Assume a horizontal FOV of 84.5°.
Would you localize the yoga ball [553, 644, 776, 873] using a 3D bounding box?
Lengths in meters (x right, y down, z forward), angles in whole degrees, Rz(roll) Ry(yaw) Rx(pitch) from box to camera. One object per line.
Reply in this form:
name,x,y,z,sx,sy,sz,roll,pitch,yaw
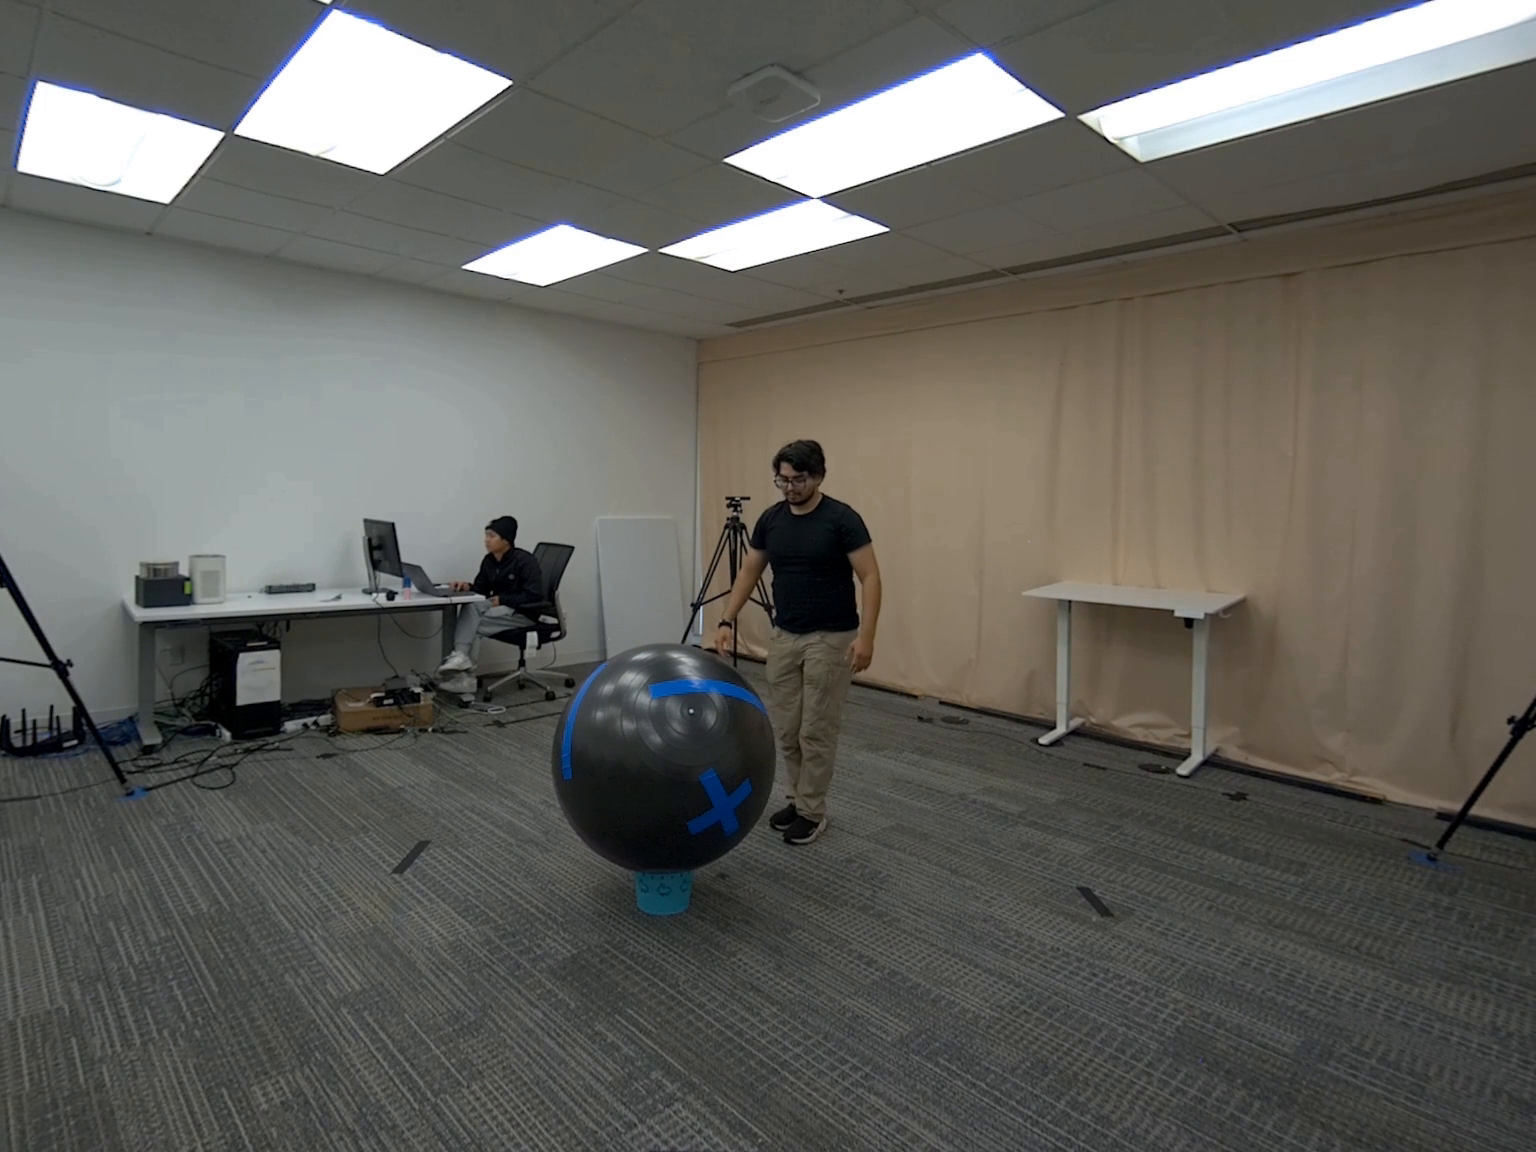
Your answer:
yoga ball,-0.354,0.614,2.866,0.757,0.756,0.761,1,4,-1
